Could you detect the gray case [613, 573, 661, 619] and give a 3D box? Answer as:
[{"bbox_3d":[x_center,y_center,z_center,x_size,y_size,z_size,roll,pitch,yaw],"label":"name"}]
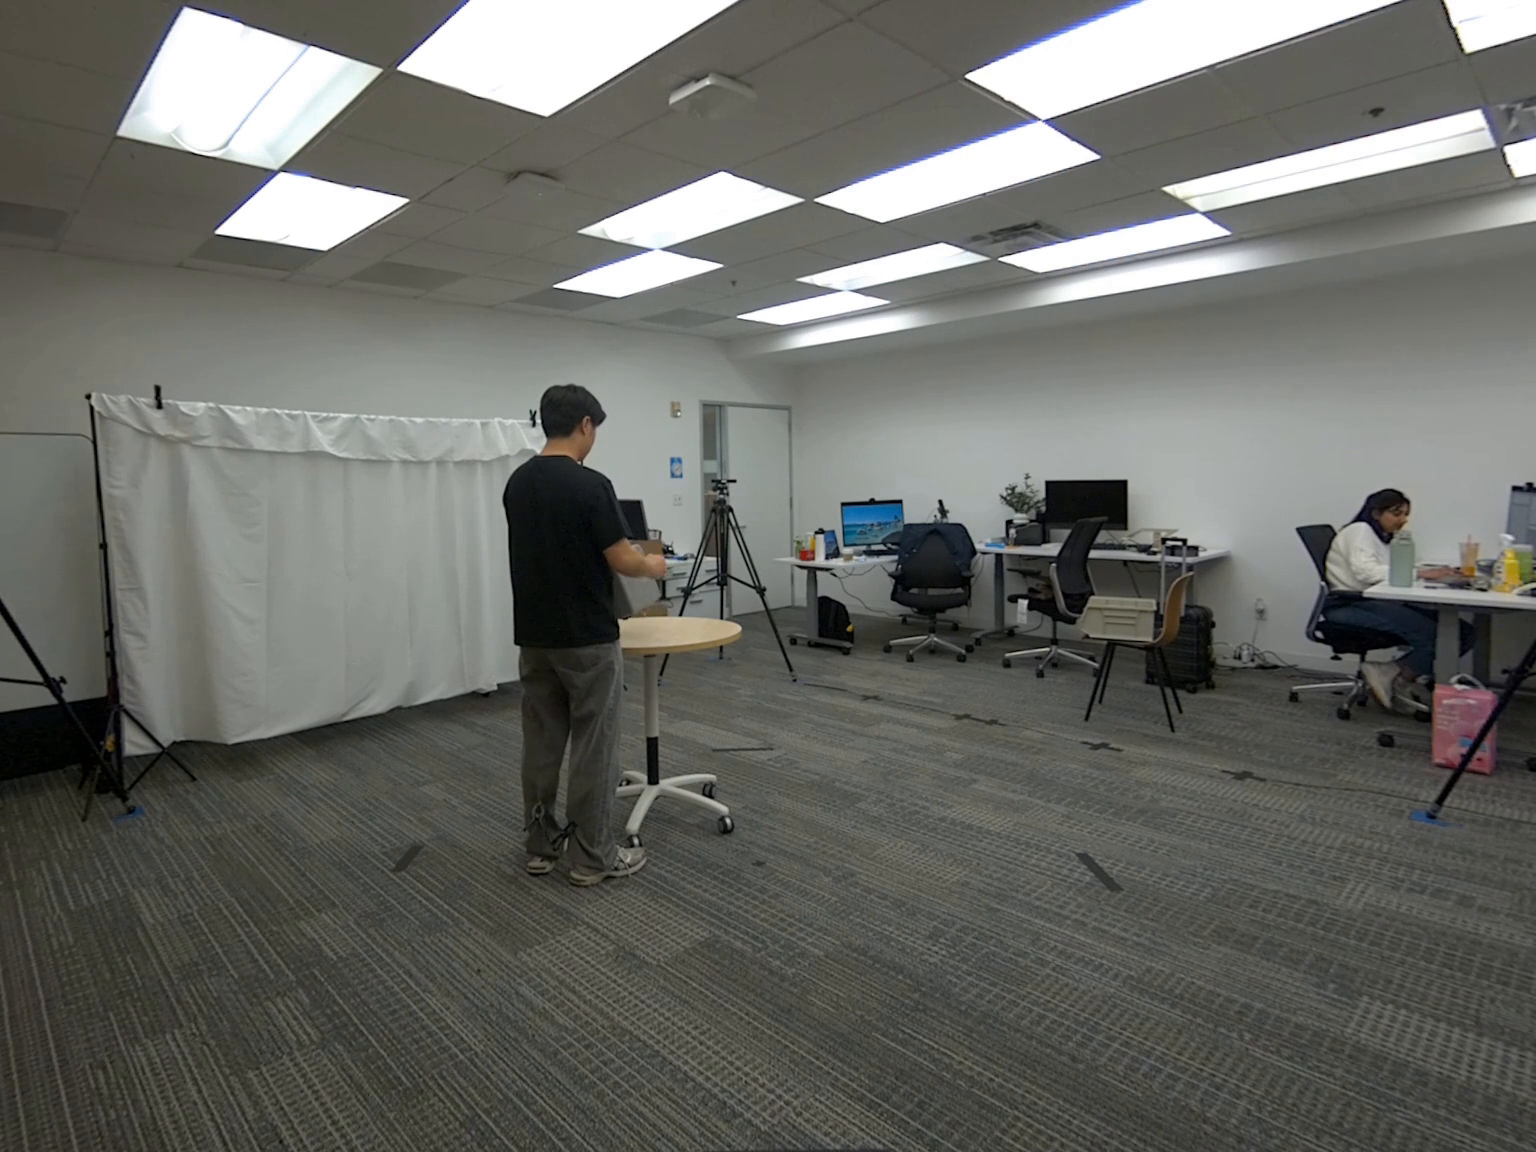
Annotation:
[{"bbox_3d":[-0.566,0.008,3.411,0.105,0.285,0.261,-12,9,21],"label":"gray case"}]
